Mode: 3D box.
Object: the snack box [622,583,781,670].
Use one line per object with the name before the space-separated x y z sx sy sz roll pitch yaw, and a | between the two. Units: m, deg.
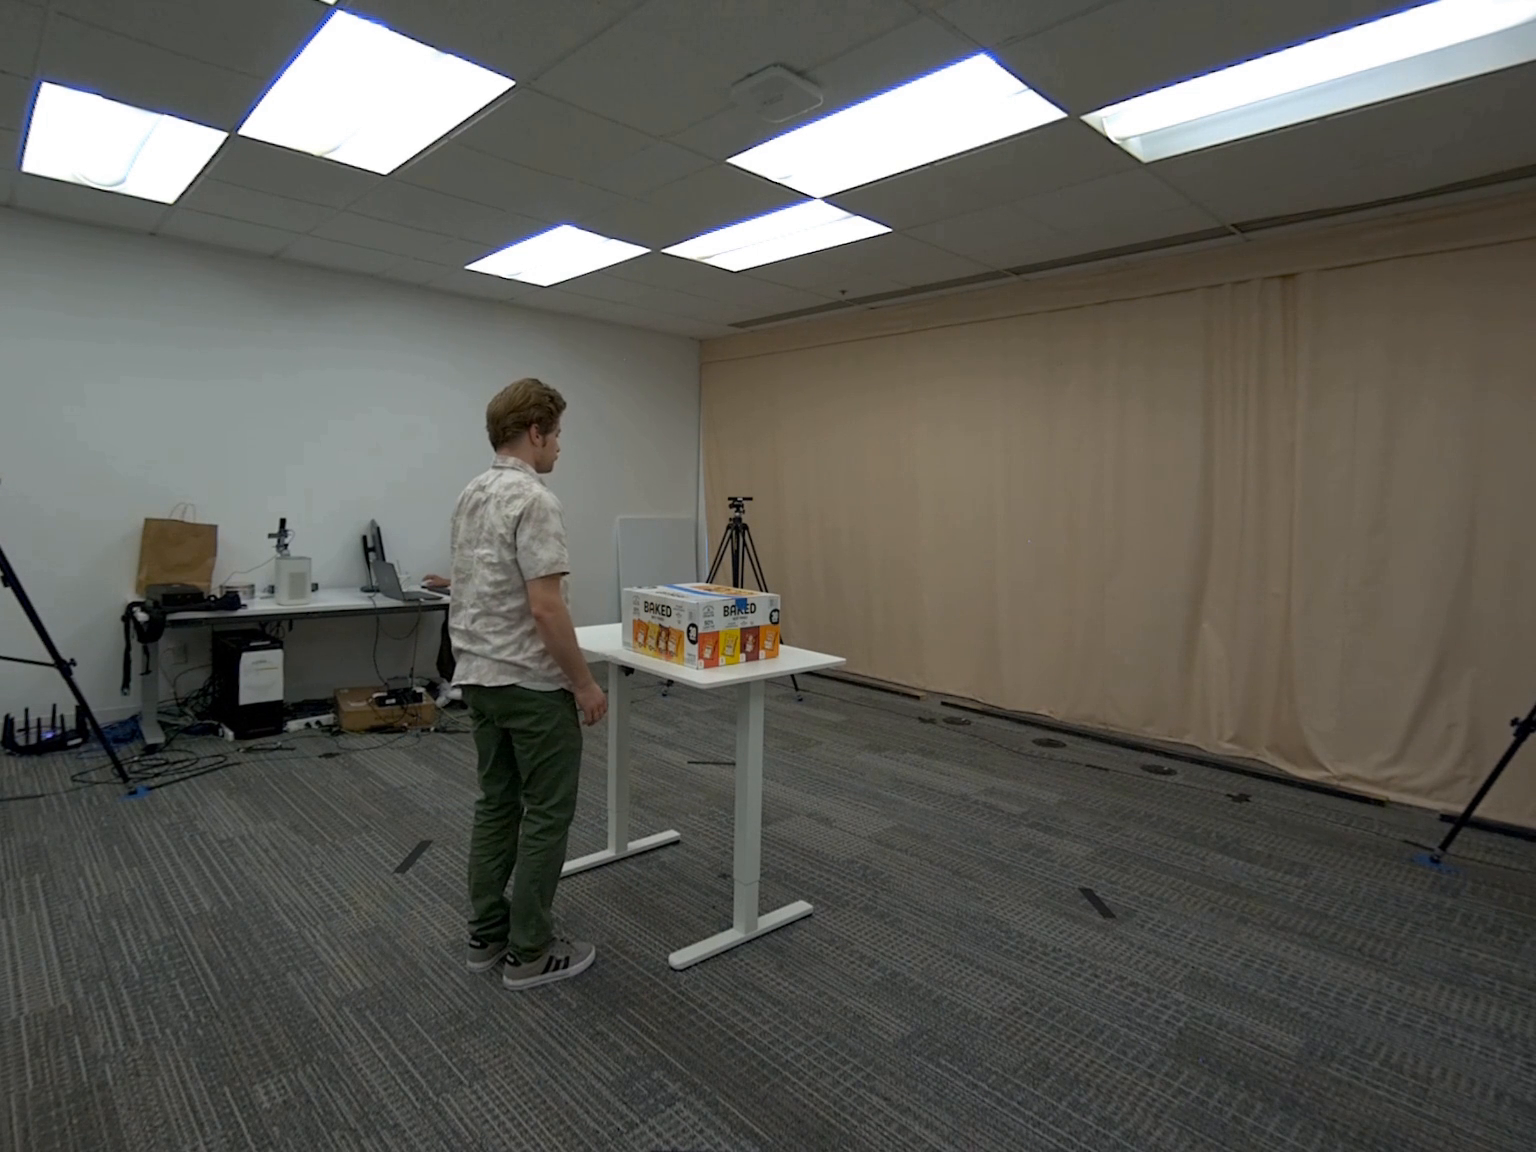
snack box | -0.229 0.154 2.755 0.332 0.205 0.415 -3 7 -42
